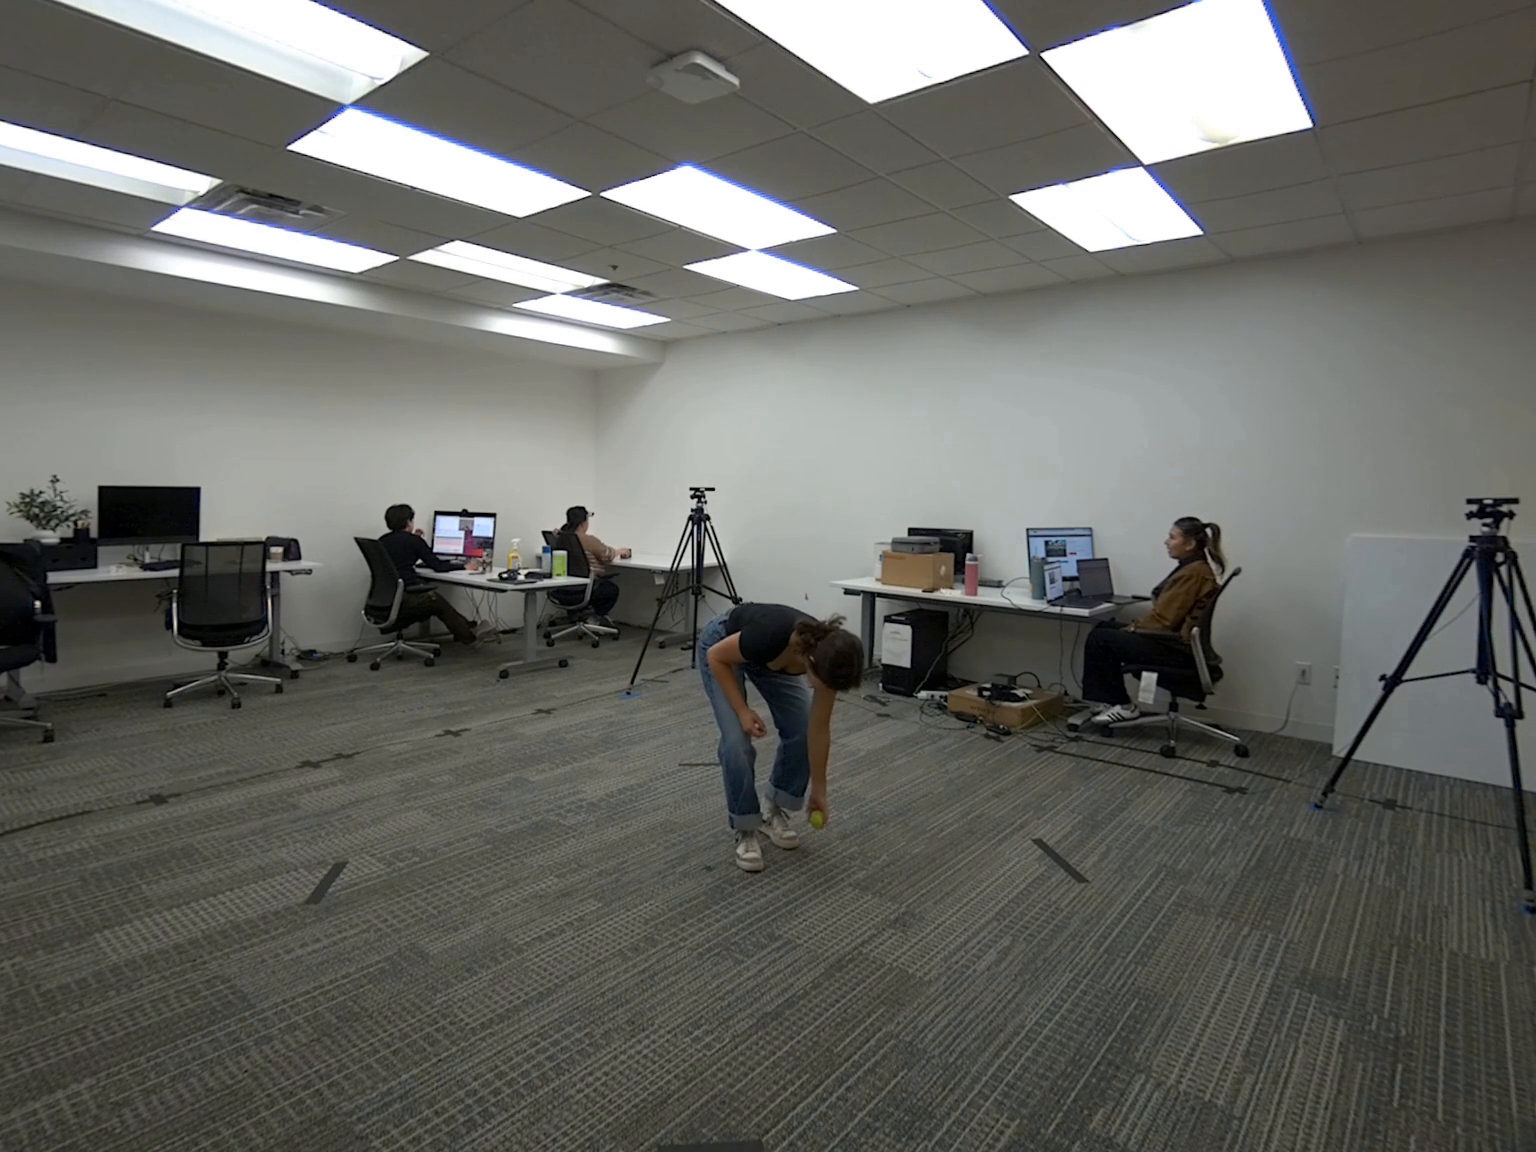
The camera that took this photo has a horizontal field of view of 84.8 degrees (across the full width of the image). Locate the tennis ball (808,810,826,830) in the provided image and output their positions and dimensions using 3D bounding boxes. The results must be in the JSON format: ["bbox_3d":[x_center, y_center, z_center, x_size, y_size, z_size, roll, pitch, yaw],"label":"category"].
[{"bbox_3d":[0.164,0.936,3.260,0.066,0.066,0.067,1,4,-2],"label":"tennis ball"}]
